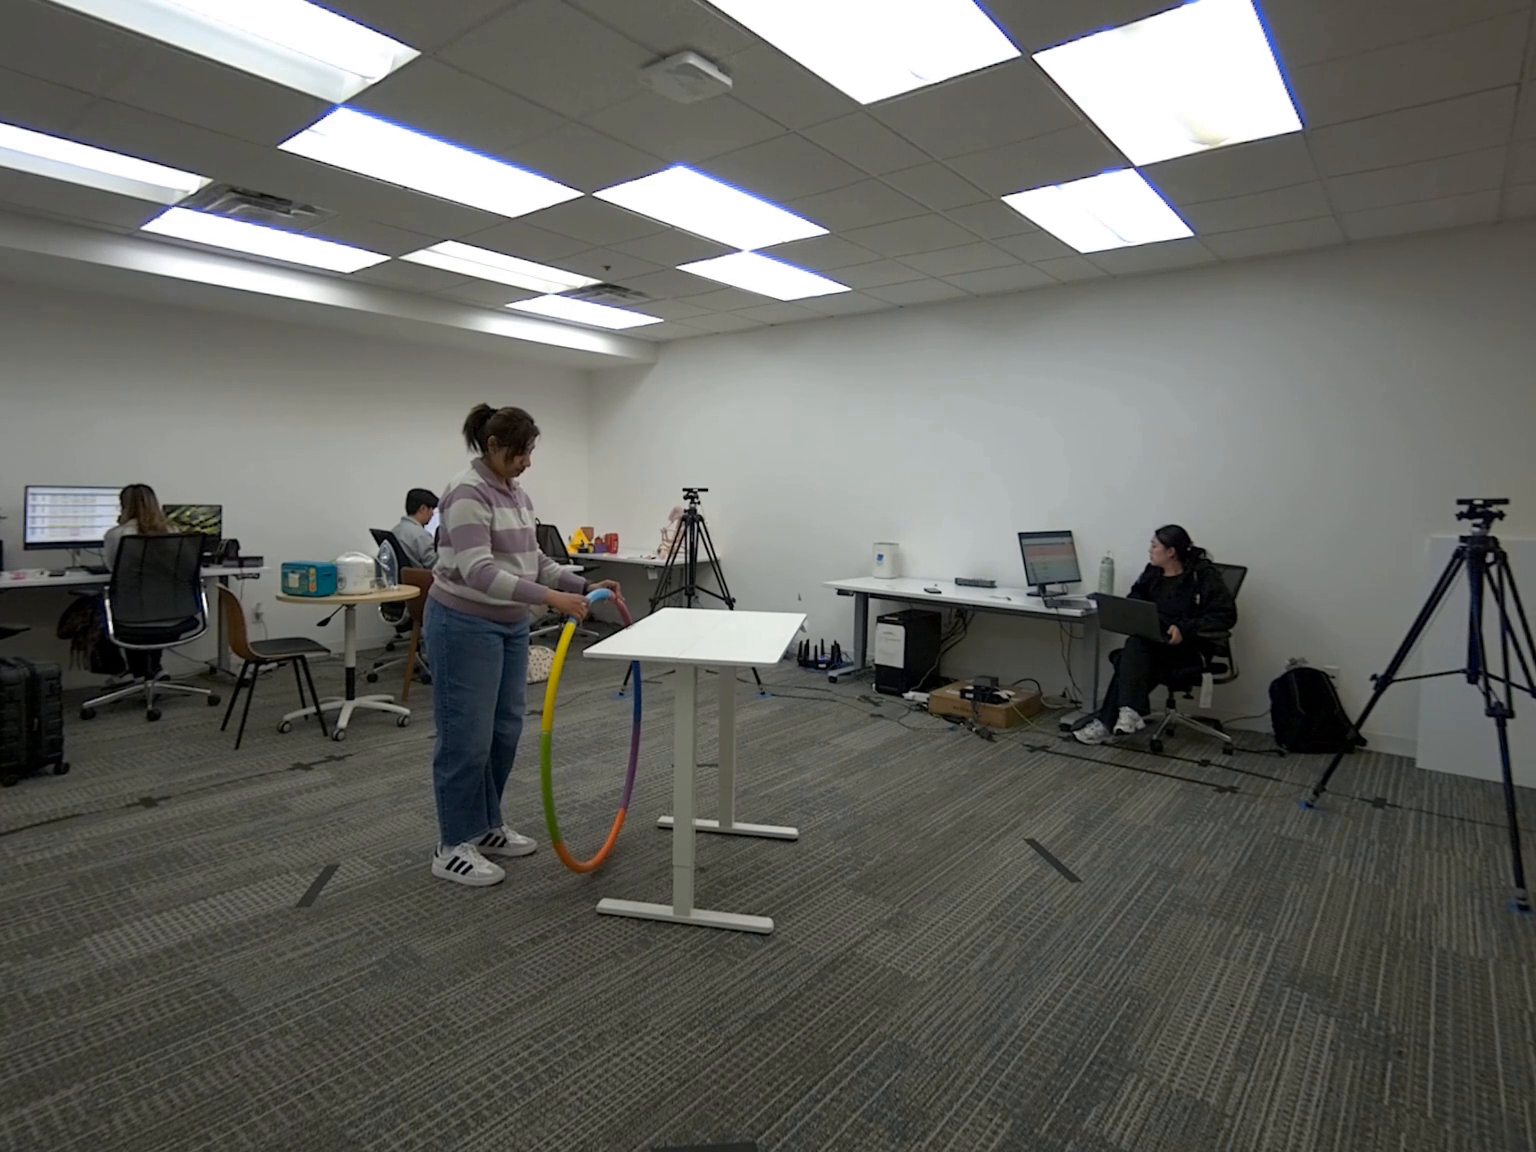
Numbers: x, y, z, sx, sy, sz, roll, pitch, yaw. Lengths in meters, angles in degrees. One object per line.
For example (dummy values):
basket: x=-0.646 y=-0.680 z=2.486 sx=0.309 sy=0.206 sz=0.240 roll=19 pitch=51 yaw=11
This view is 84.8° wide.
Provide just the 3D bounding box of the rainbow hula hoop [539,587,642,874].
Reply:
rainbow hula hoop: x=-0.629 y=0.552 z=3.100 sx=0.036 sy=0.976 sz=0.970 roll=0 pitch=4 yaw=9
